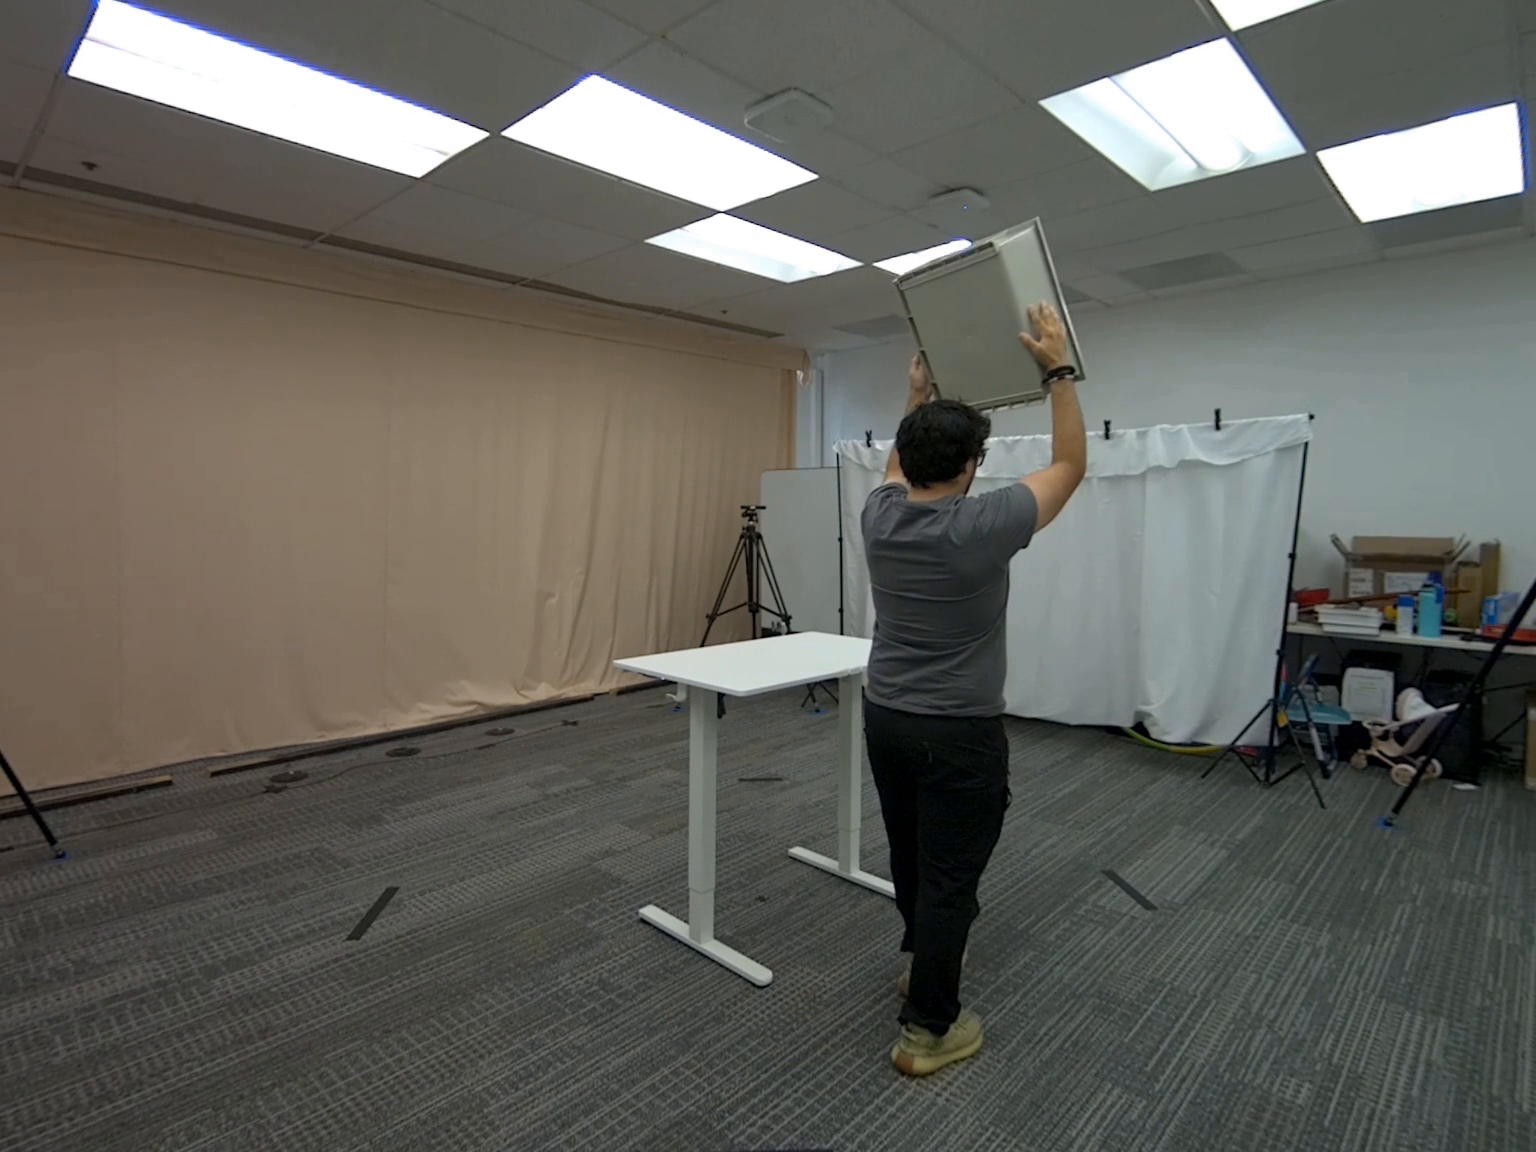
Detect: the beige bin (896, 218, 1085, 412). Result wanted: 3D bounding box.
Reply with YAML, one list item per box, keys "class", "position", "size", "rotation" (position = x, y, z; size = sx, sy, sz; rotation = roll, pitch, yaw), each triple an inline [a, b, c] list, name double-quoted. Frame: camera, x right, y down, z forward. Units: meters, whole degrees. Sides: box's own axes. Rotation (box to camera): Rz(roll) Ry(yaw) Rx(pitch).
- class: "beige bin"
  position: [0.575, -0.657, 2.212]
  size: [0.186, 0.416, 0.388]
  rotation: [-31, 17, -30]
